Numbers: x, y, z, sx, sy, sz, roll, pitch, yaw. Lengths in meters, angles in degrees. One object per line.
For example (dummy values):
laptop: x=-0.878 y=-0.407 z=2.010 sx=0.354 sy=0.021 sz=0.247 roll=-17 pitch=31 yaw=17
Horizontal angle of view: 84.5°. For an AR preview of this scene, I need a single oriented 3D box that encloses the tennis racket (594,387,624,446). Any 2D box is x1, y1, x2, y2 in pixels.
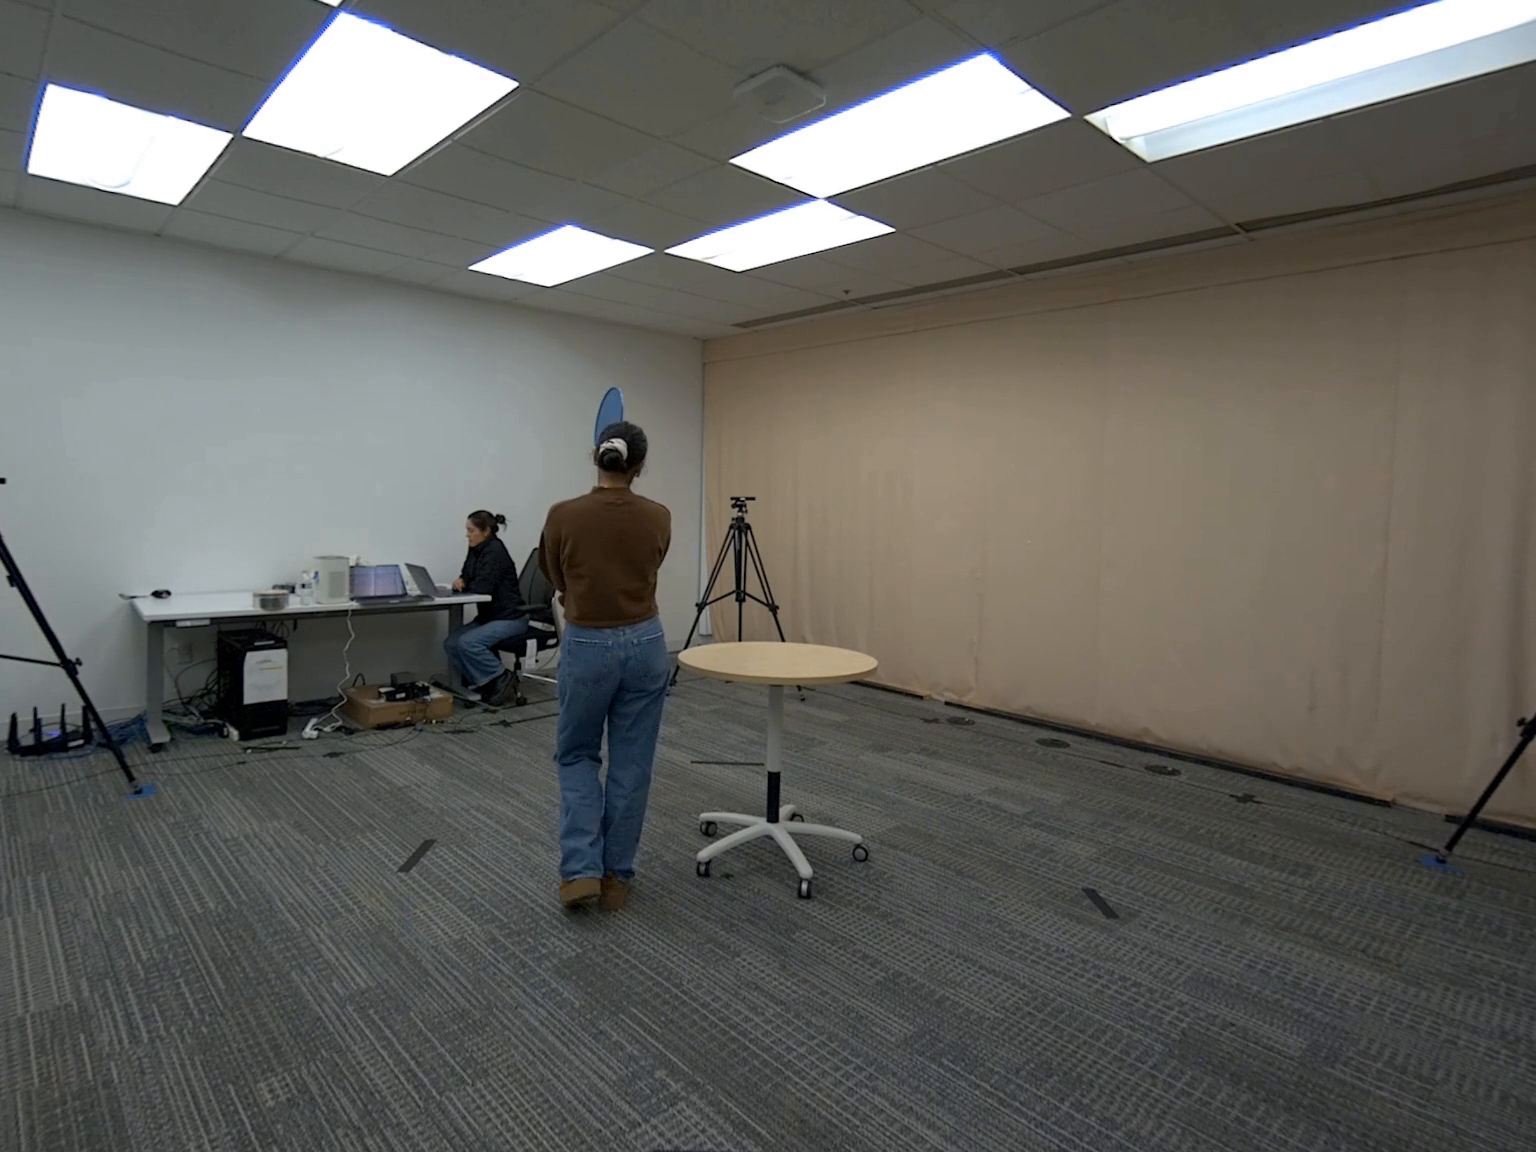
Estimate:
tennis racket: x=-0.590 y=-0.479 z=3.041 sx=0.031 sy=0.437 sz=0.217 roll=10 pitch=-15 yaw=-35
